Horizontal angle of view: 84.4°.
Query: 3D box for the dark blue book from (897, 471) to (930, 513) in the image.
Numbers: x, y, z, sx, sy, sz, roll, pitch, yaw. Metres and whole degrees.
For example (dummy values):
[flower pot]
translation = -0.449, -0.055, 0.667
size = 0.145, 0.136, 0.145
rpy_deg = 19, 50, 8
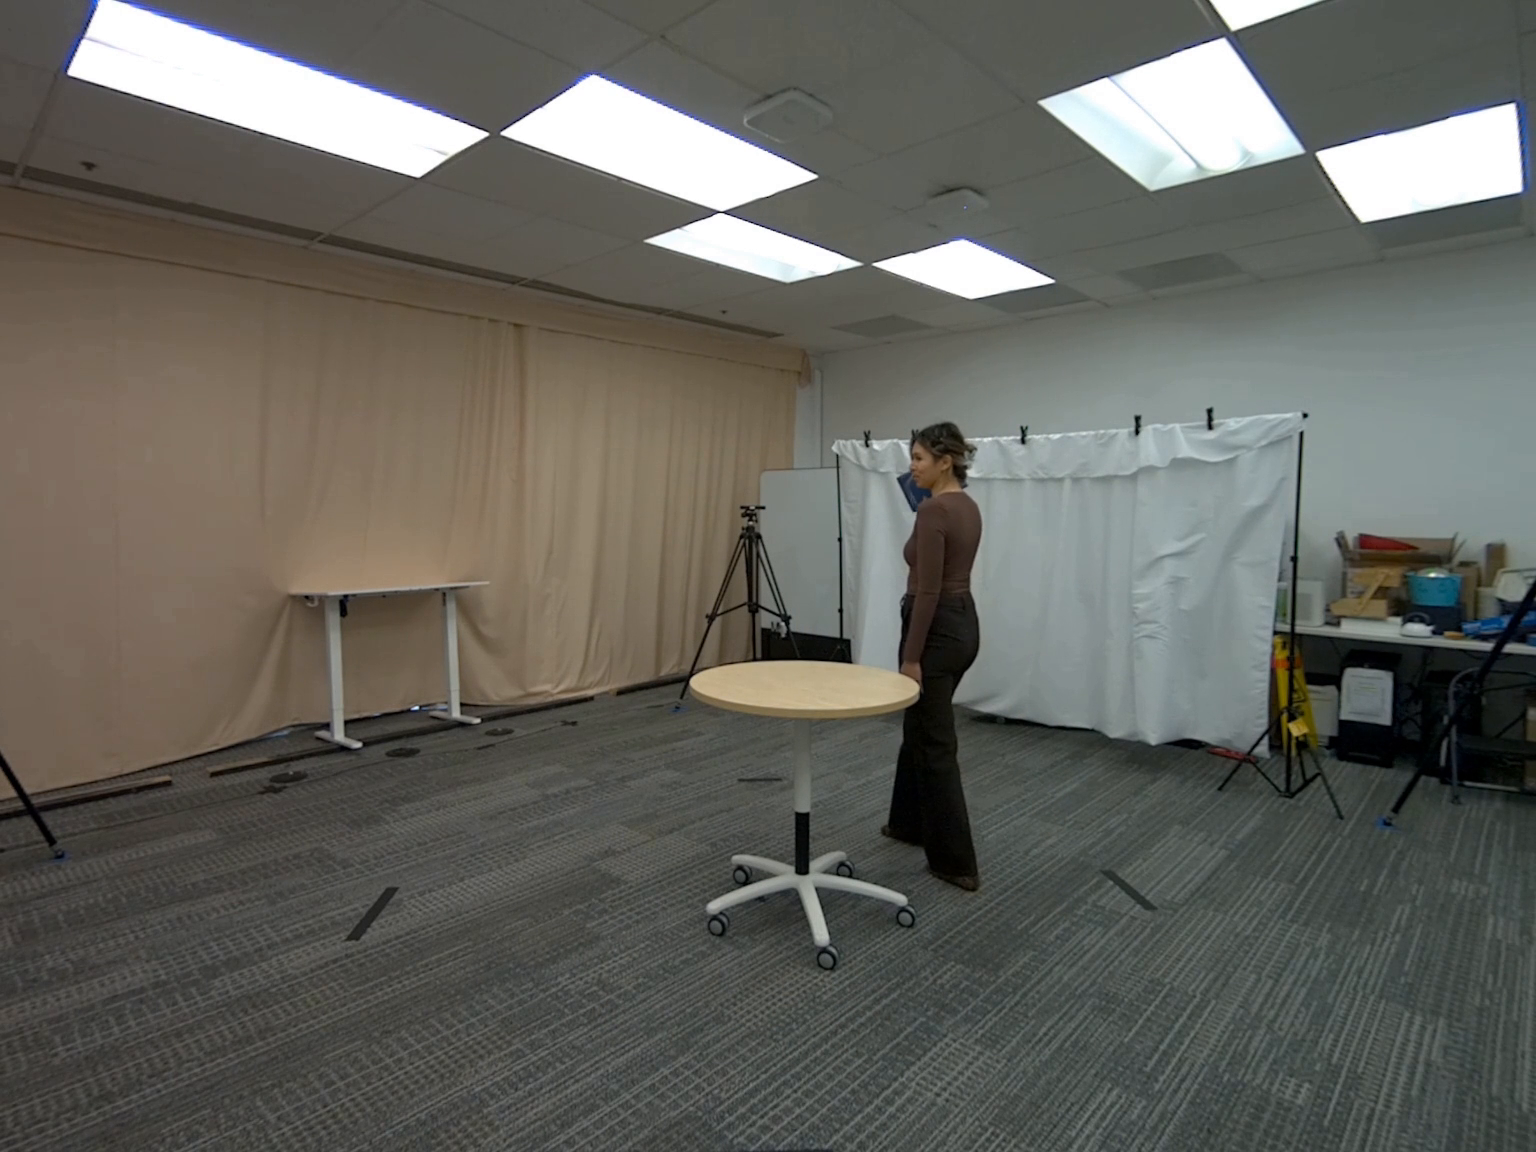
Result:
[dark blue book]
translation = 0.694, -0.392, 3.498
size = 0.248, 0.165, 0.044
rpy_deg = -26, -7, 16
